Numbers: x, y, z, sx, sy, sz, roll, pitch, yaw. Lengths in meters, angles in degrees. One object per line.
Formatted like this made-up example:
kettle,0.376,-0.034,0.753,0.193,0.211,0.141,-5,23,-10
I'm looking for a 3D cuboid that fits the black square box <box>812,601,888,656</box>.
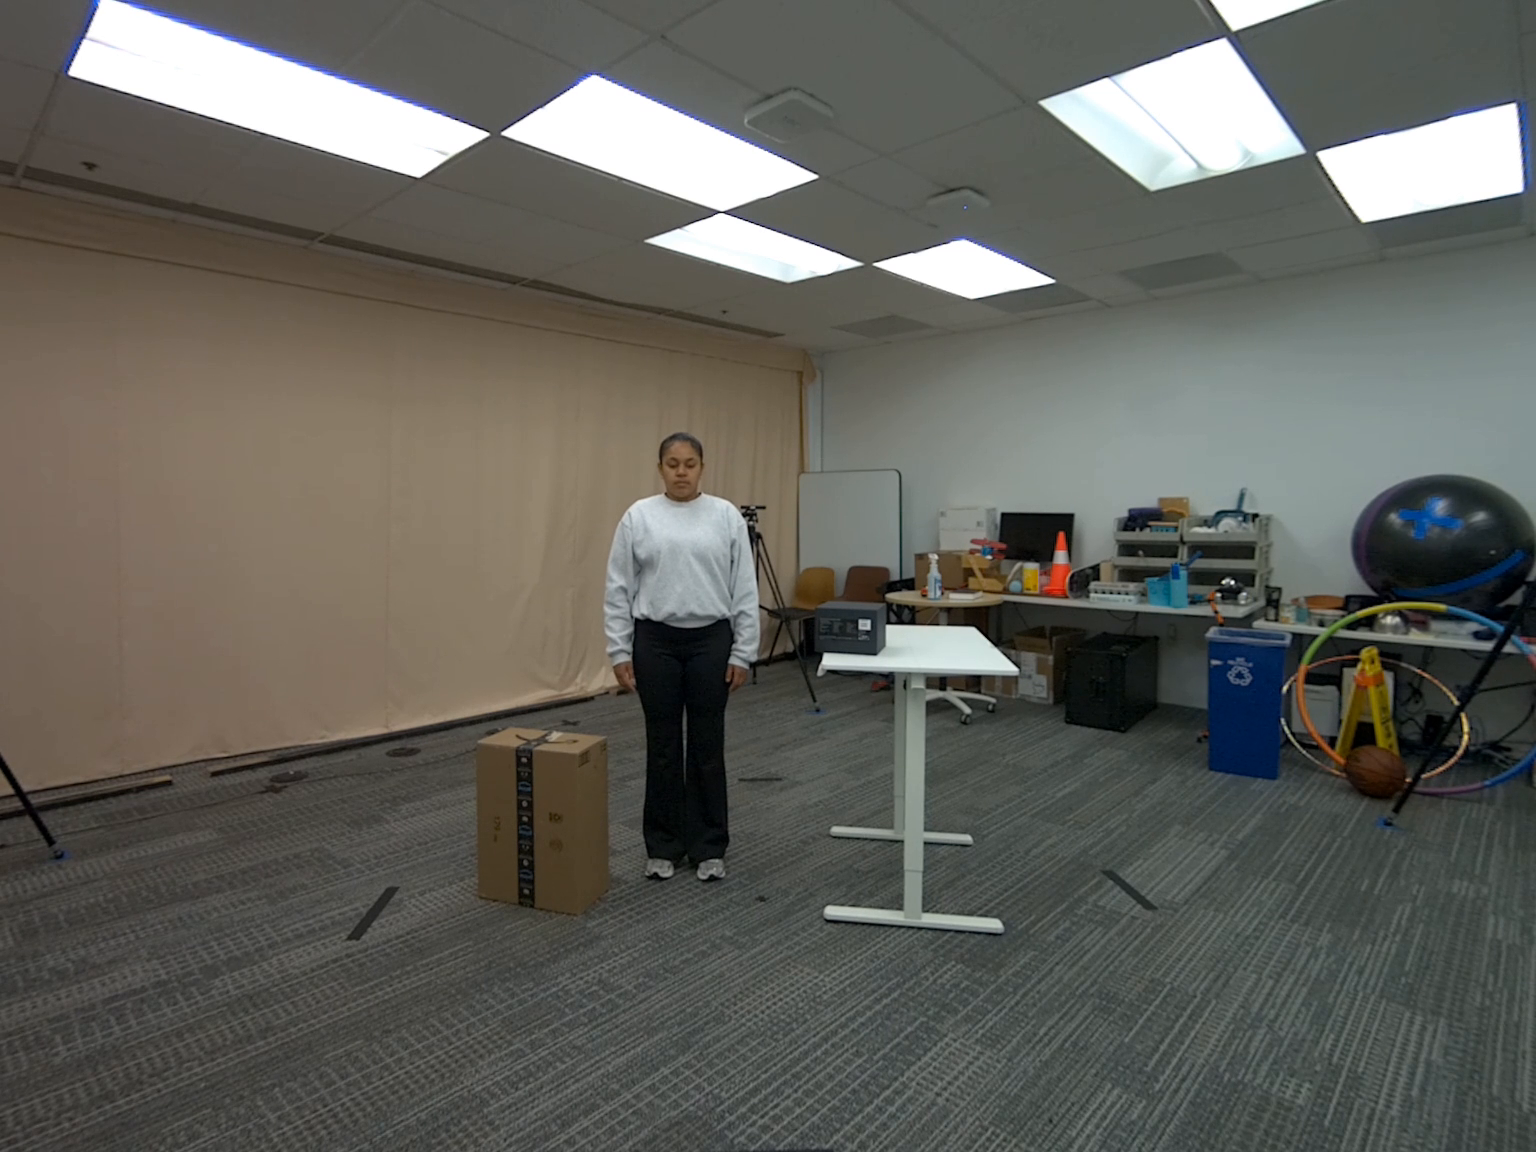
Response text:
black square box,0.302,0.180,2.966,0.221,0.155,0.224,1,4,17
